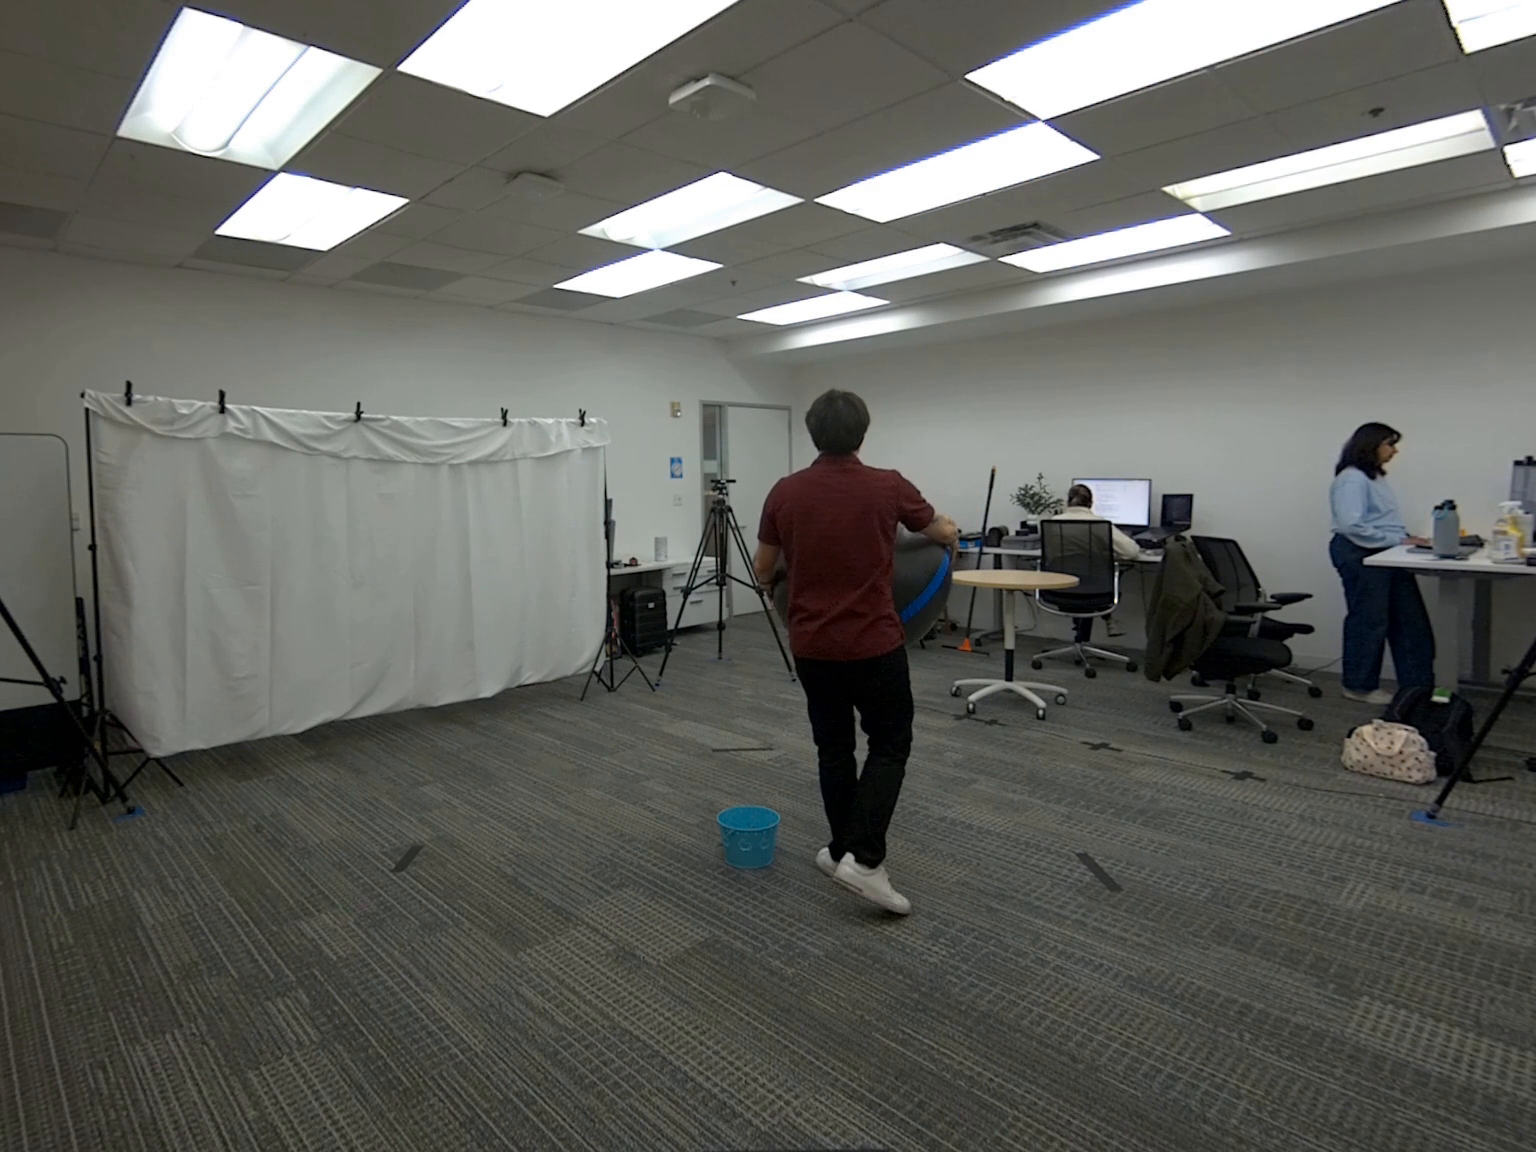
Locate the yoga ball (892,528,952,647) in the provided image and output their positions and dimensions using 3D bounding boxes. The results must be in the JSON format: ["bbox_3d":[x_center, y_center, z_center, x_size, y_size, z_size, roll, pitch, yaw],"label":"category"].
[{"bbox_3d":[0.365,-0.035,3.432,0.757,0.755,0.762,-1,5,-2],"label":"yoga ball"}]
